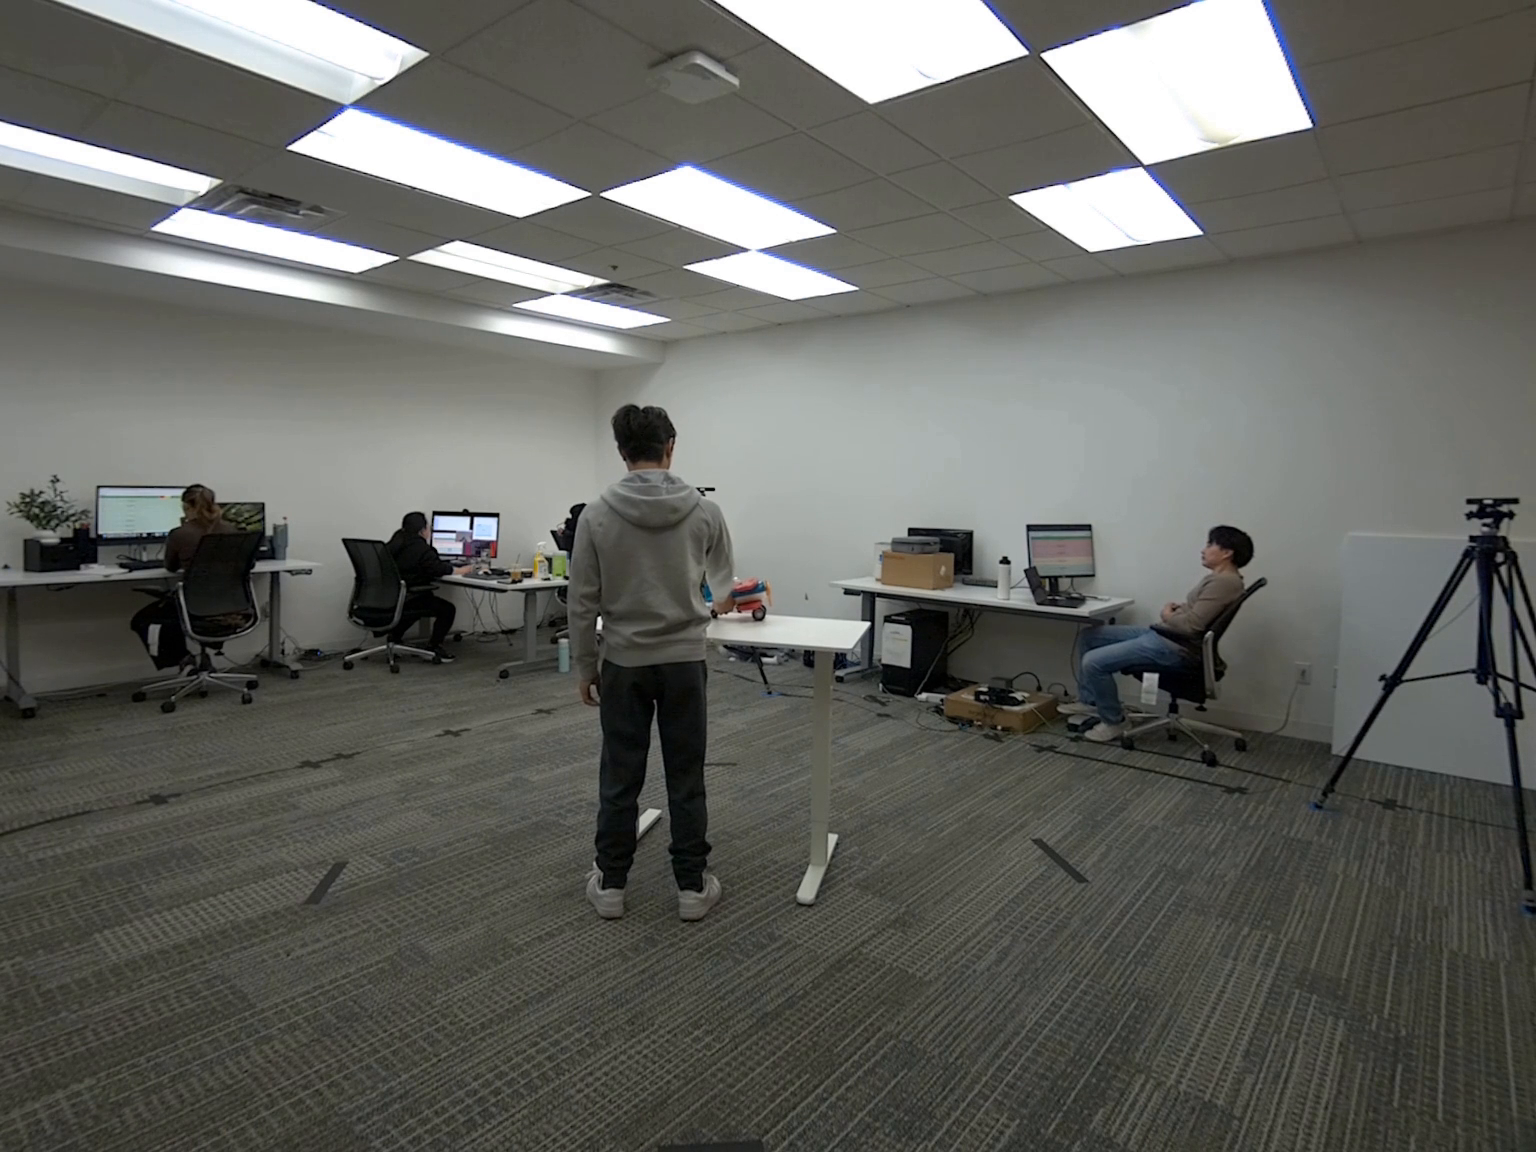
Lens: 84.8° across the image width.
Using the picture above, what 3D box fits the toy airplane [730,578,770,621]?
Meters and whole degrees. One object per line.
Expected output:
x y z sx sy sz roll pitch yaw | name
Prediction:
-0.124 0.087 3.318 0.253 0.156 0.258 0 6 -24 | toy airplane
